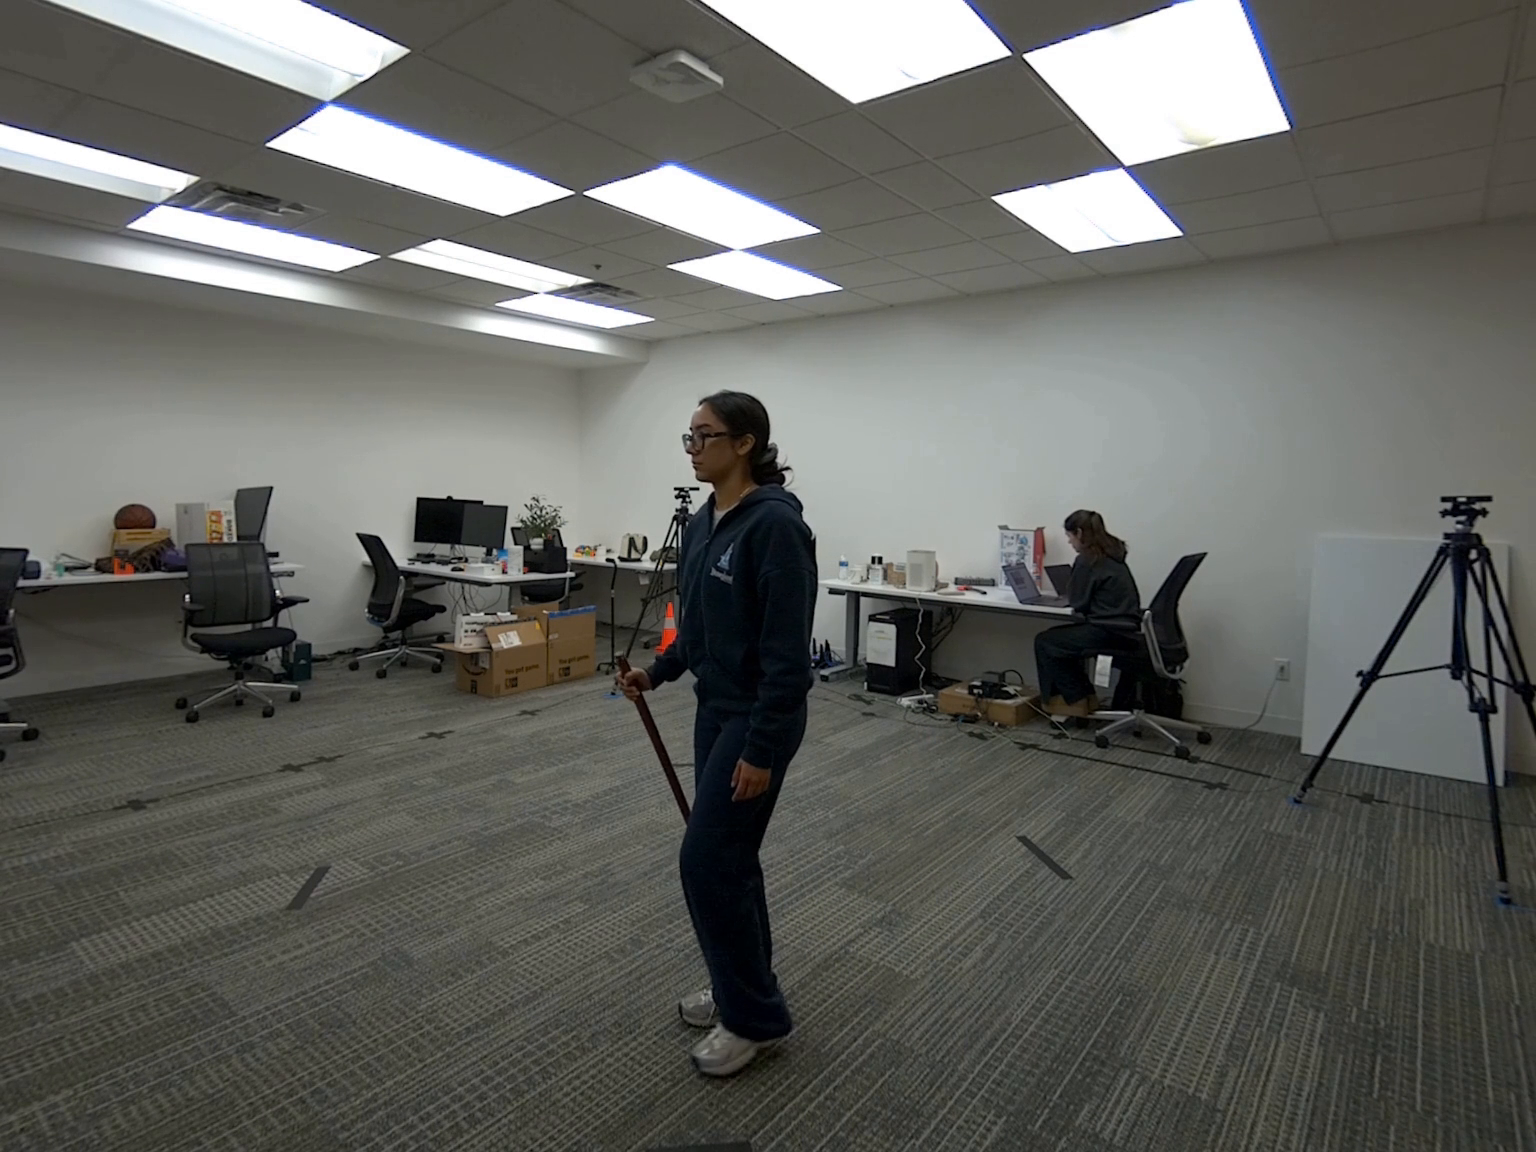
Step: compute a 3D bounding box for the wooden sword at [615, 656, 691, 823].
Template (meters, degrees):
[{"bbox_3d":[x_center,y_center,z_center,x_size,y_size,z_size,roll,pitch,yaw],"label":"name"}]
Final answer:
[{"bbox_3d":[-0.249,0.660,2.429,0.024,1.004,0.053,-23,17,-14],"label":"wooden sword"}]
